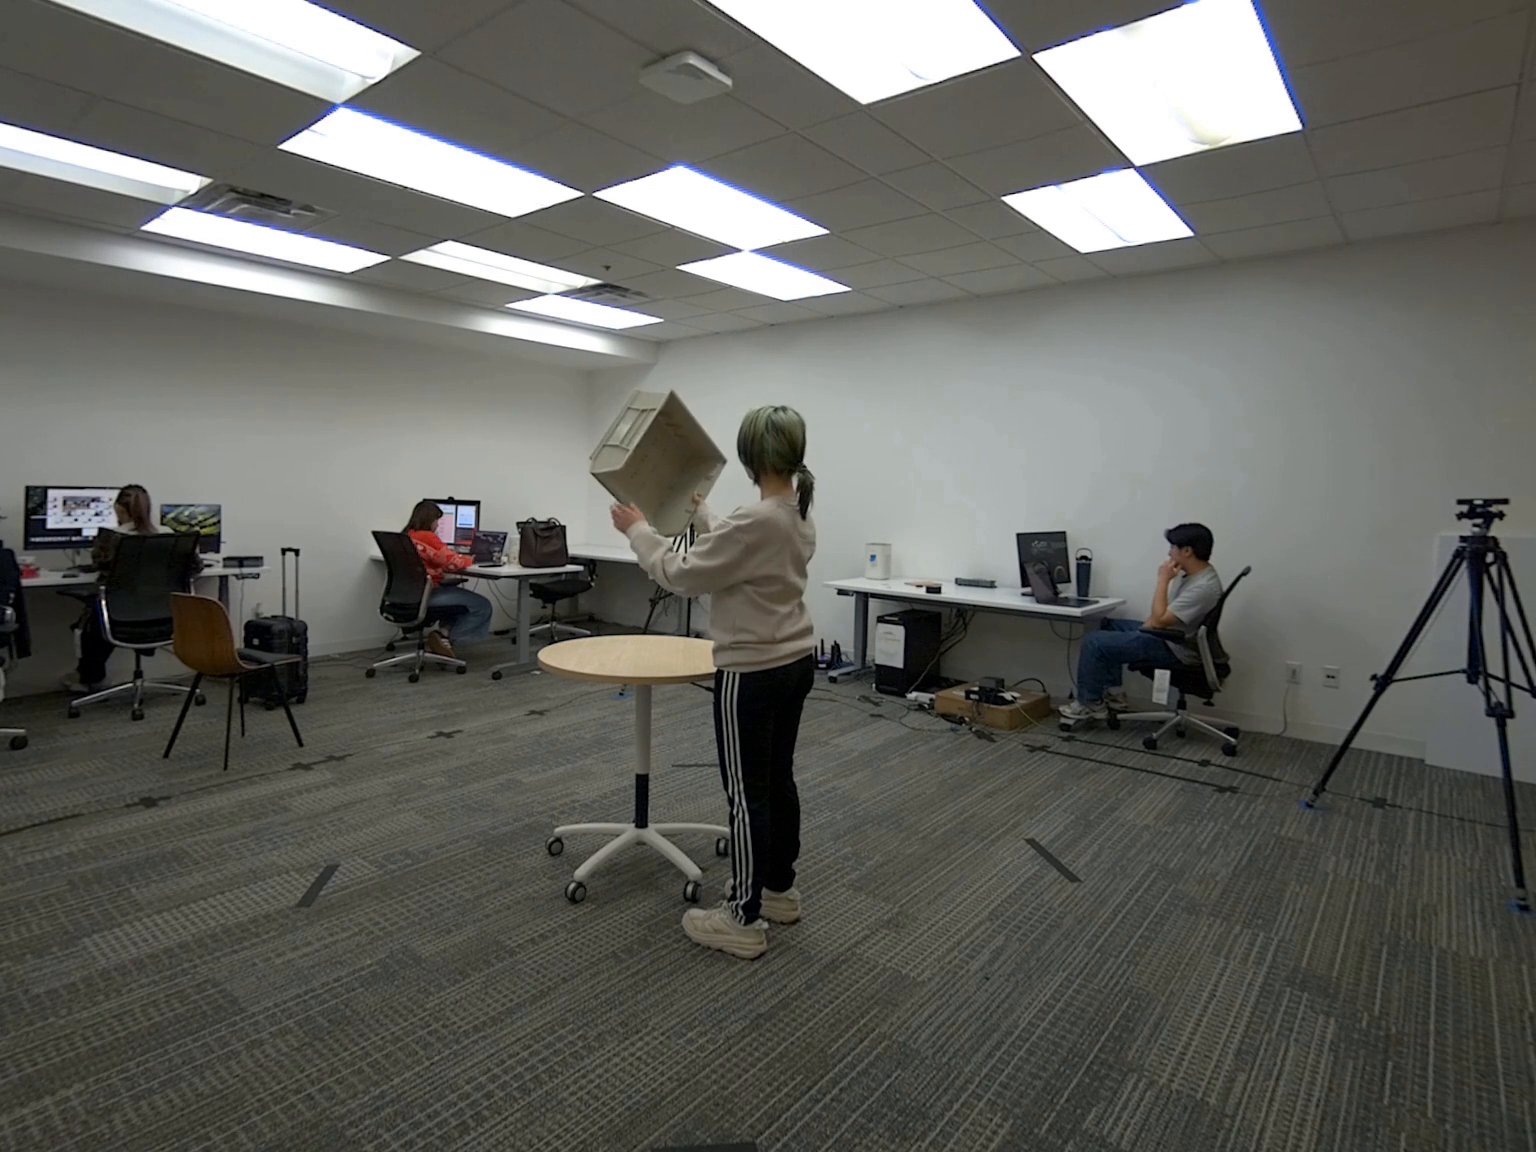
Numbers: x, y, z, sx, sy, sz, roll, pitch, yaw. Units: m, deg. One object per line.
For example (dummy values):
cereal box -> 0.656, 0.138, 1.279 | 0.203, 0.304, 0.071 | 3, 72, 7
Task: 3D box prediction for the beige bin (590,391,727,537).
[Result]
beige bin -> -0.406, -0.395, 3.045 | 0.196, 0.379, 0.404 | 13, -23, 37
